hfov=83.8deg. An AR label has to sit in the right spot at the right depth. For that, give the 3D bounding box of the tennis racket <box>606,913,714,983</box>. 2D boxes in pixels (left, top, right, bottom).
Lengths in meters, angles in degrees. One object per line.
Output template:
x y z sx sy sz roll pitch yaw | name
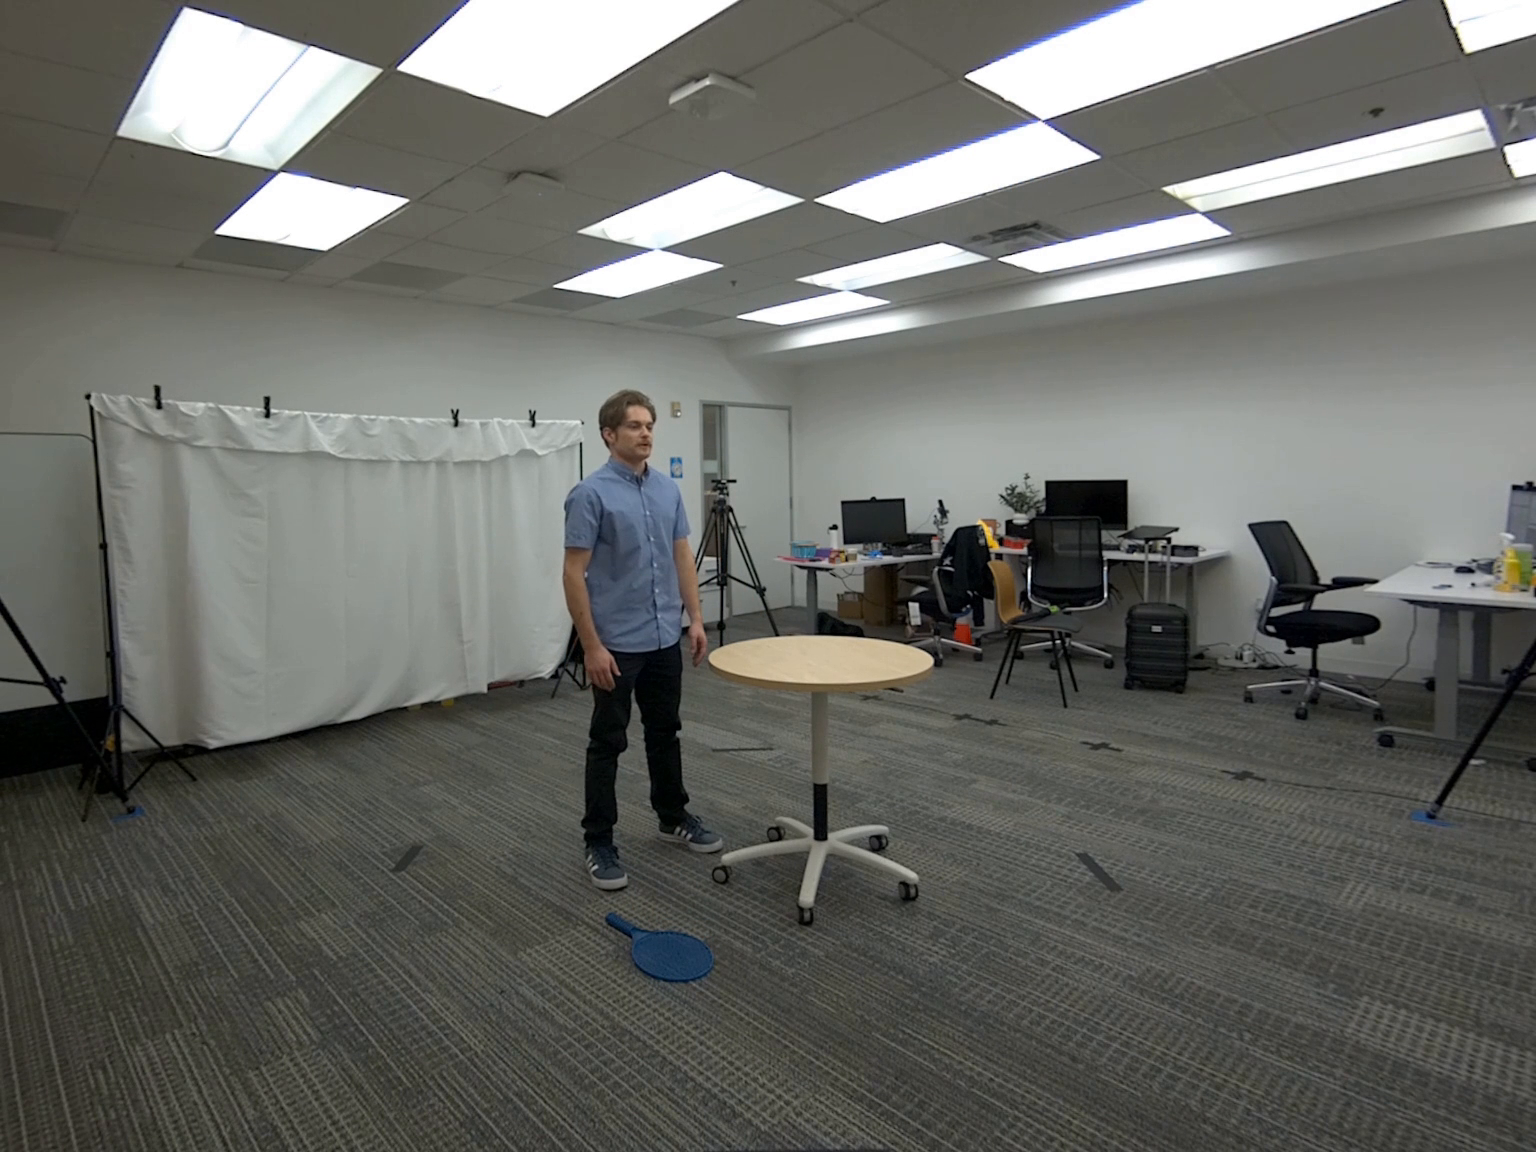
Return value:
-0.335 1.102 2.565 0.446 0.031 0.208 6 11 42 | tennis racket
